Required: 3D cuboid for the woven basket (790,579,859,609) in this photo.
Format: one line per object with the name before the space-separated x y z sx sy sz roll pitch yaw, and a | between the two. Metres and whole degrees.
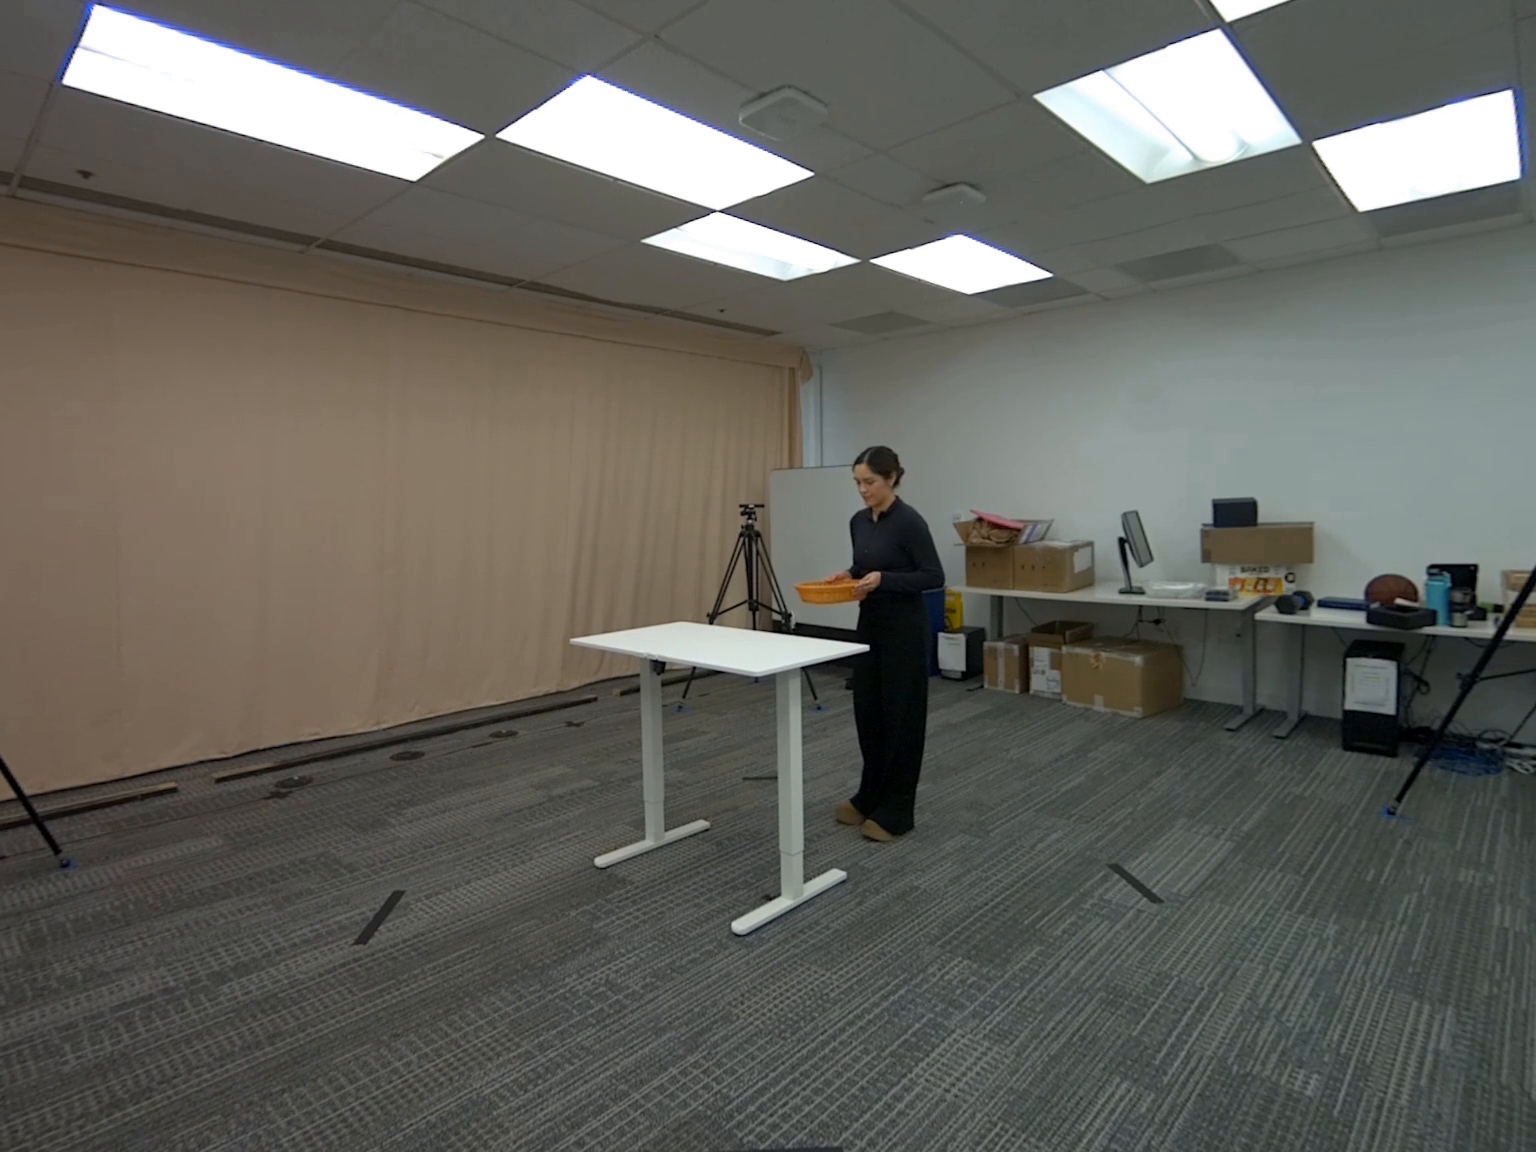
woven basket | 0.286 0.062 3.428 0.260 0.073 0.342 -2 7 32
